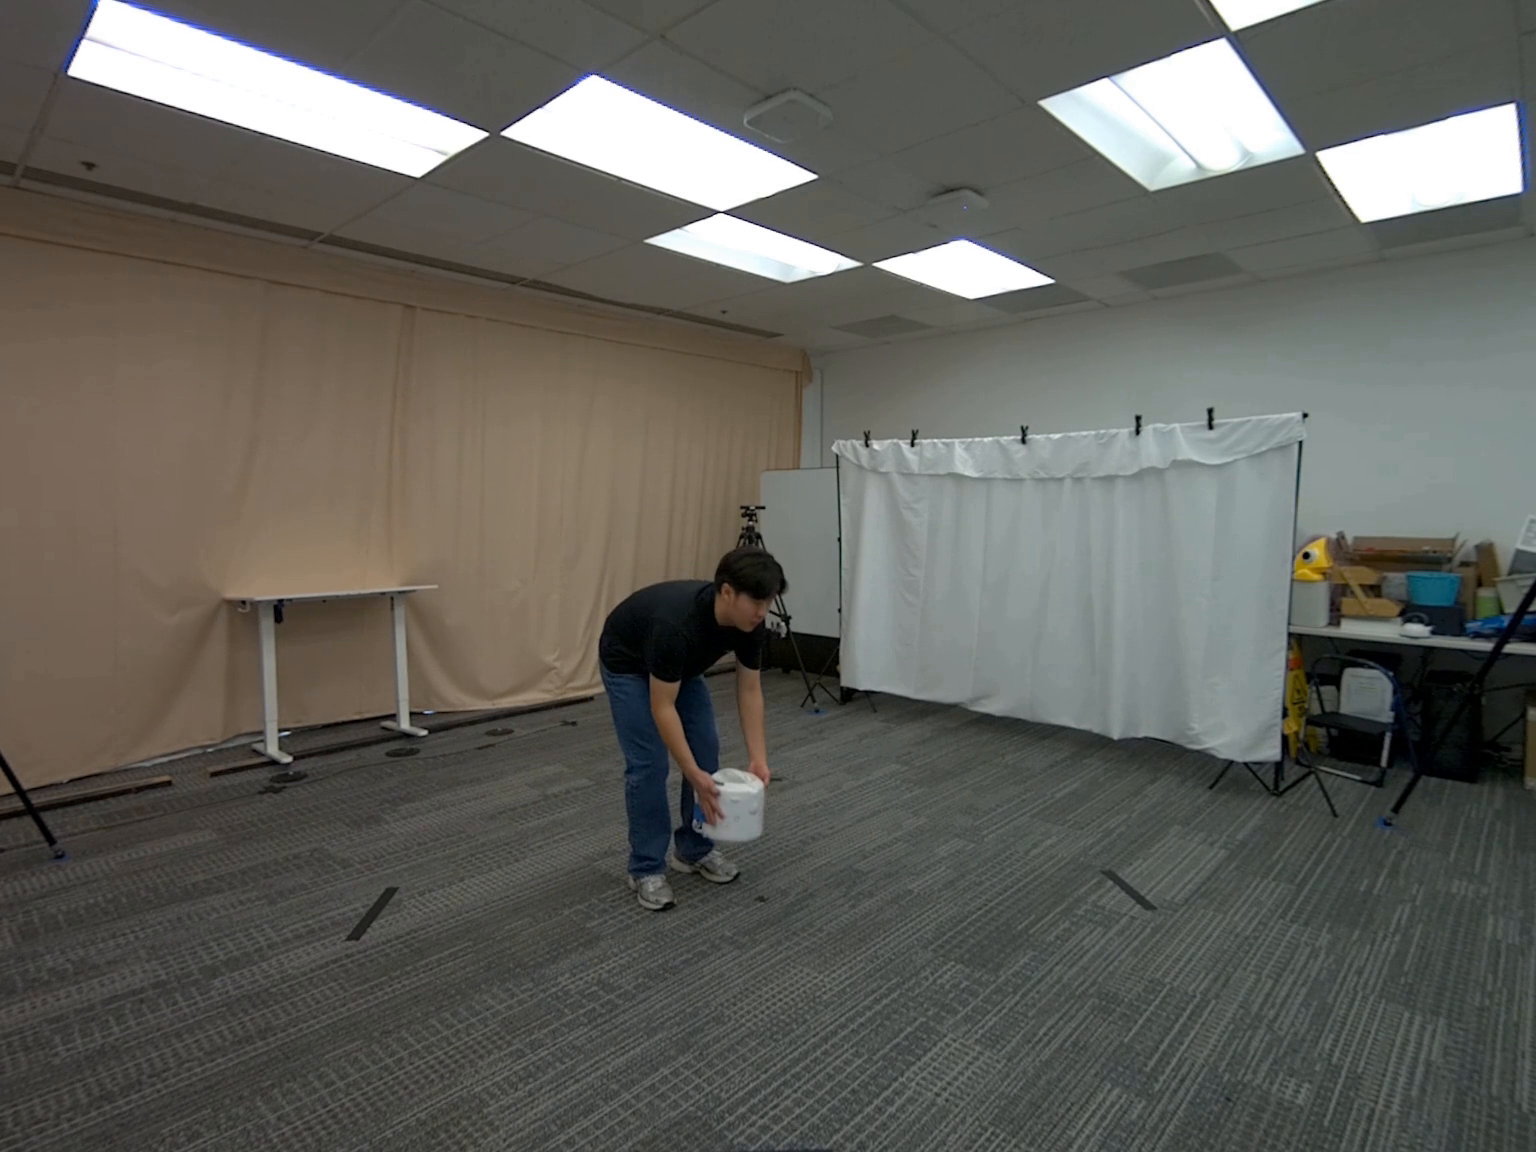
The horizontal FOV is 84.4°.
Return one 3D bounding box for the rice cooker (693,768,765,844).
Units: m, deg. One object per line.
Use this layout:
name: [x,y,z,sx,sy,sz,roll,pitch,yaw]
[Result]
rice cooker: [-0.117,0.764,2.884,0.211,0.232,0.228,-1,2,-41]
